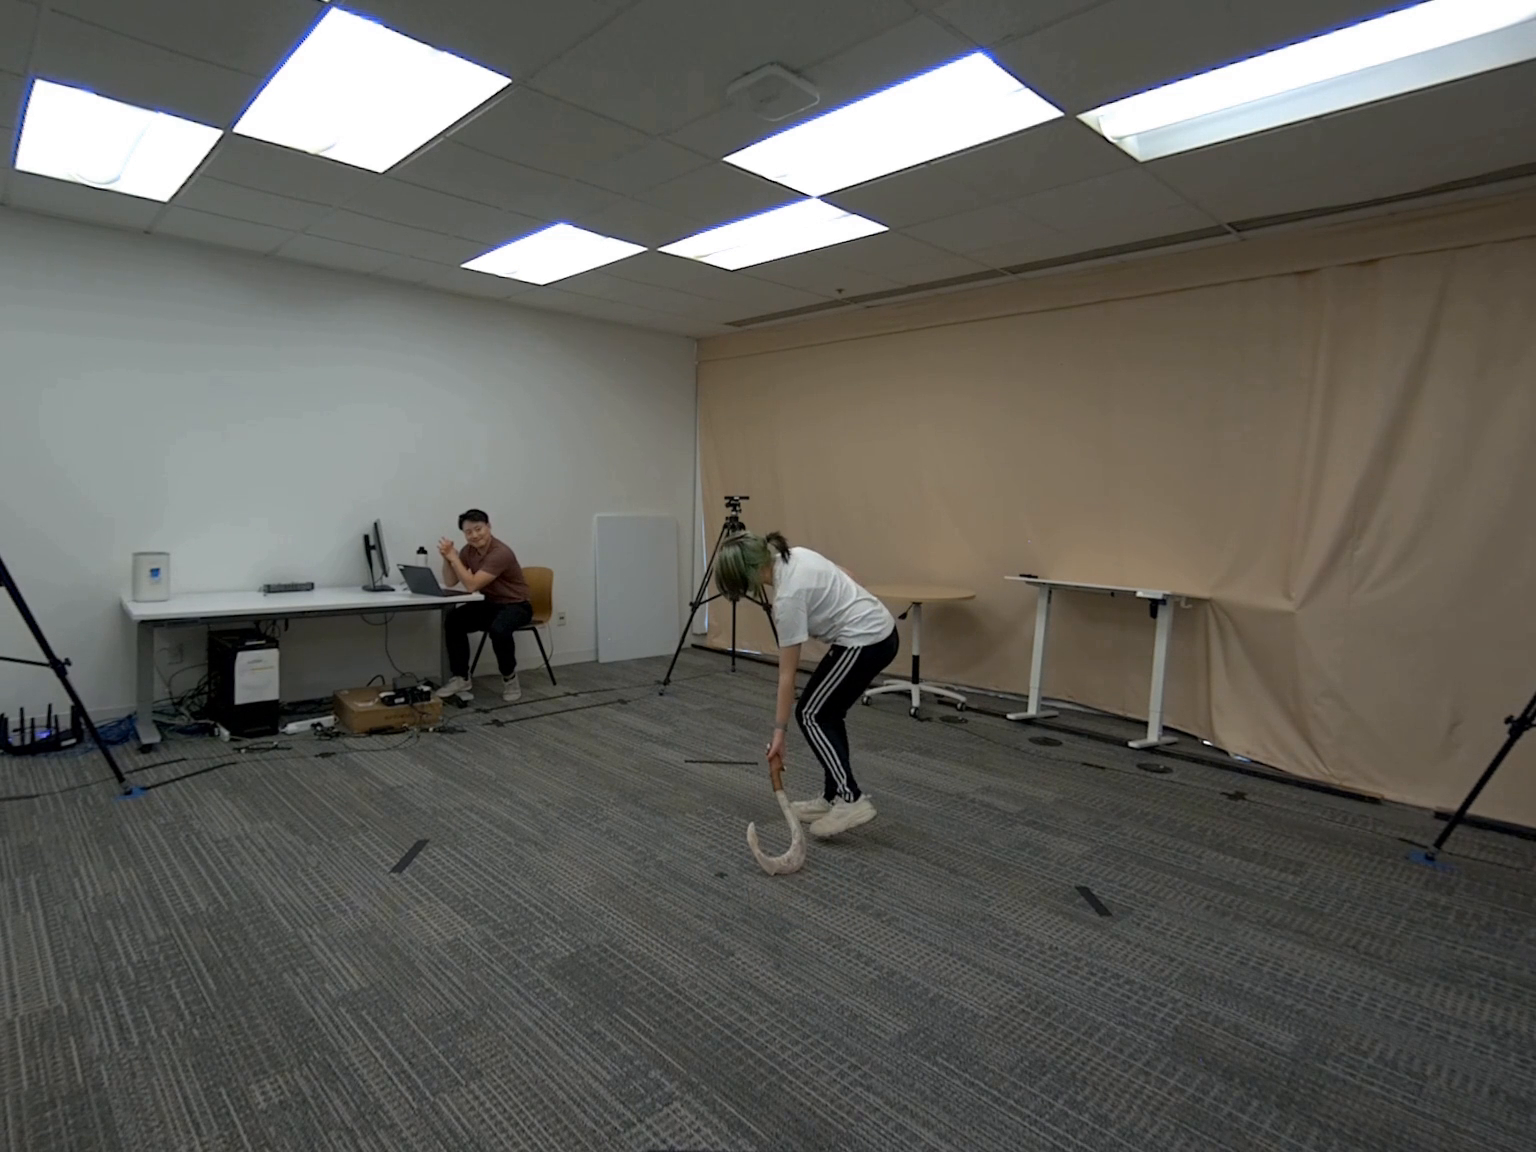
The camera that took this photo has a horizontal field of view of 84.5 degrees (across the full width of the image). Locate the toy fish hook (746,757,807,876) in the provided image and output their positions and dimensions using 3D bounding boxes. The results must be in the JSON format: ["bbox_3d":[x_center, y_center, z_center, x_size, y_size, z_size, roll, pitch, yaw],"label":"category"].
[{"bbox_3d":[0.006,0.890,3.244,0.221,0.519,0.048,1,-34,-20],"label":"toy fish hook"}]
